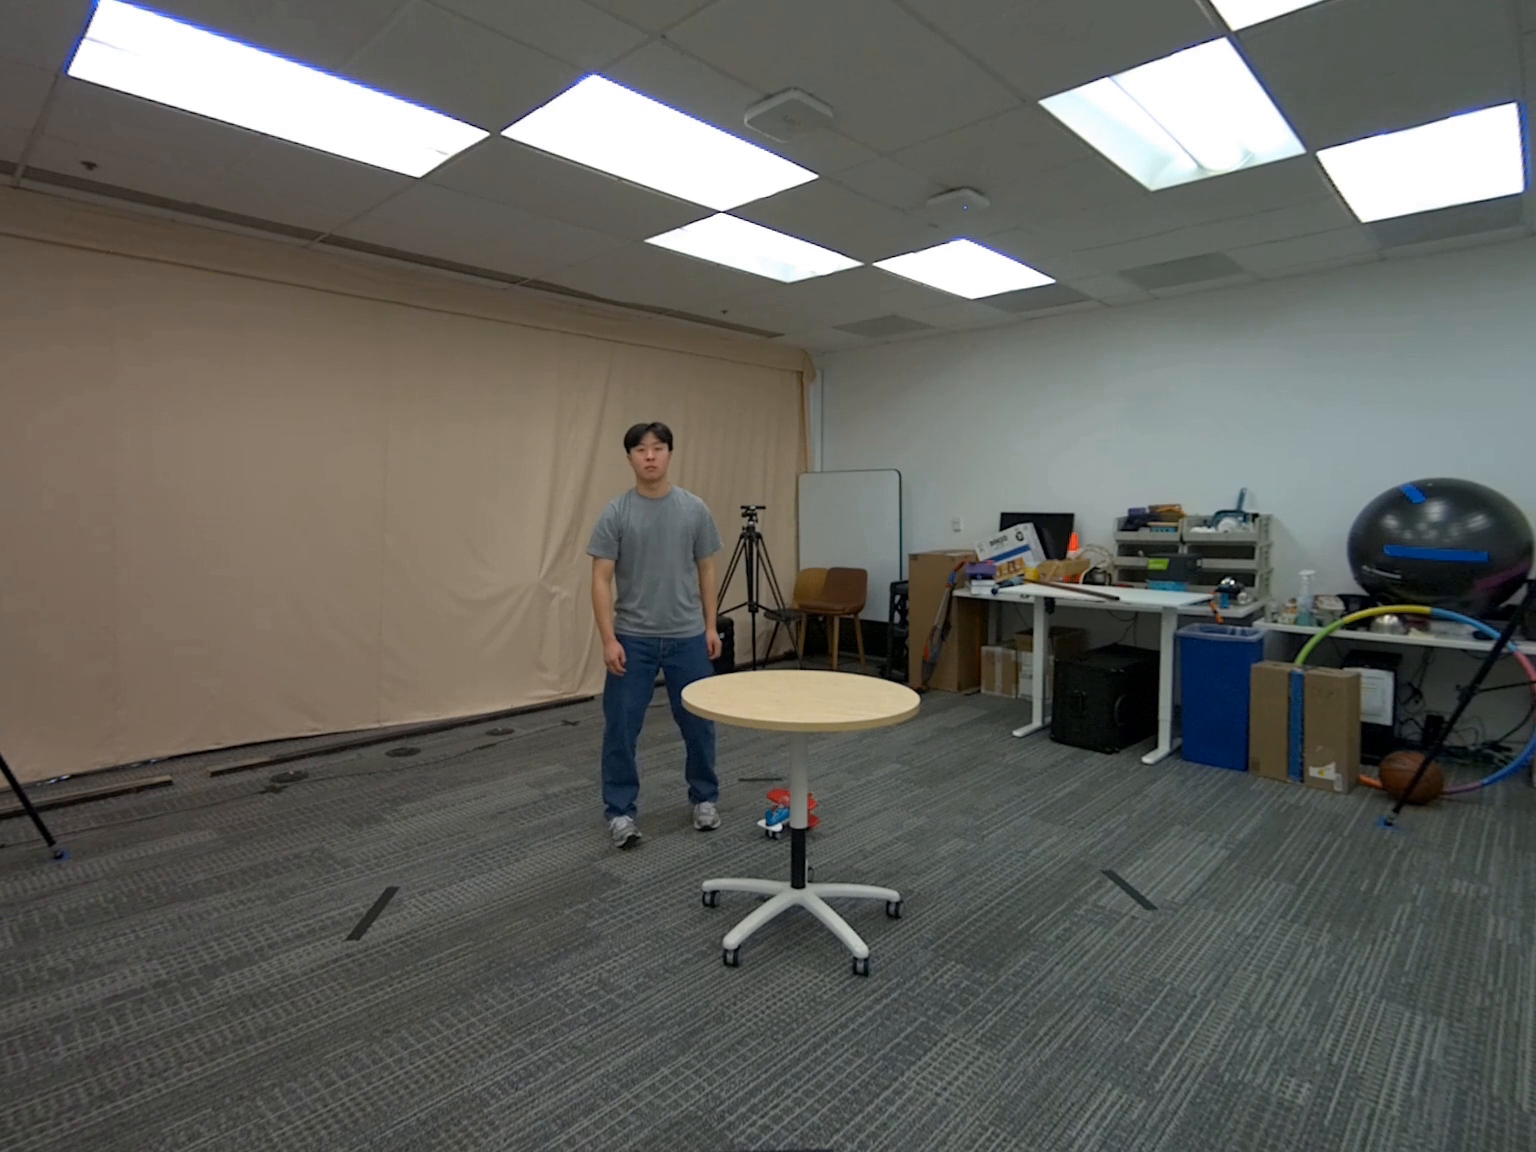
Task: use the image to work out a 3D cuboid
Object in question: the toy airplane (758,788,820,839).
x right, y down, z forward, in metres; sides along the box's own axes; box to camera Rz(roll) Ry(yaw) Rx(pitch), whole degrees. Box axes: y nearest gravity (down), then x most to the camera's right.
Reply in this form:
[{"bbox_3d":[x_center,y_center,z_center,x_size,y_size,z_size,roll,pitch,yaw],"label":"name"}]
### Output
[{"bbox_3d":[0.100,1.019,3.570,0.256,0.156,0.255,1,3,17],"label":"toy airplane"}]
